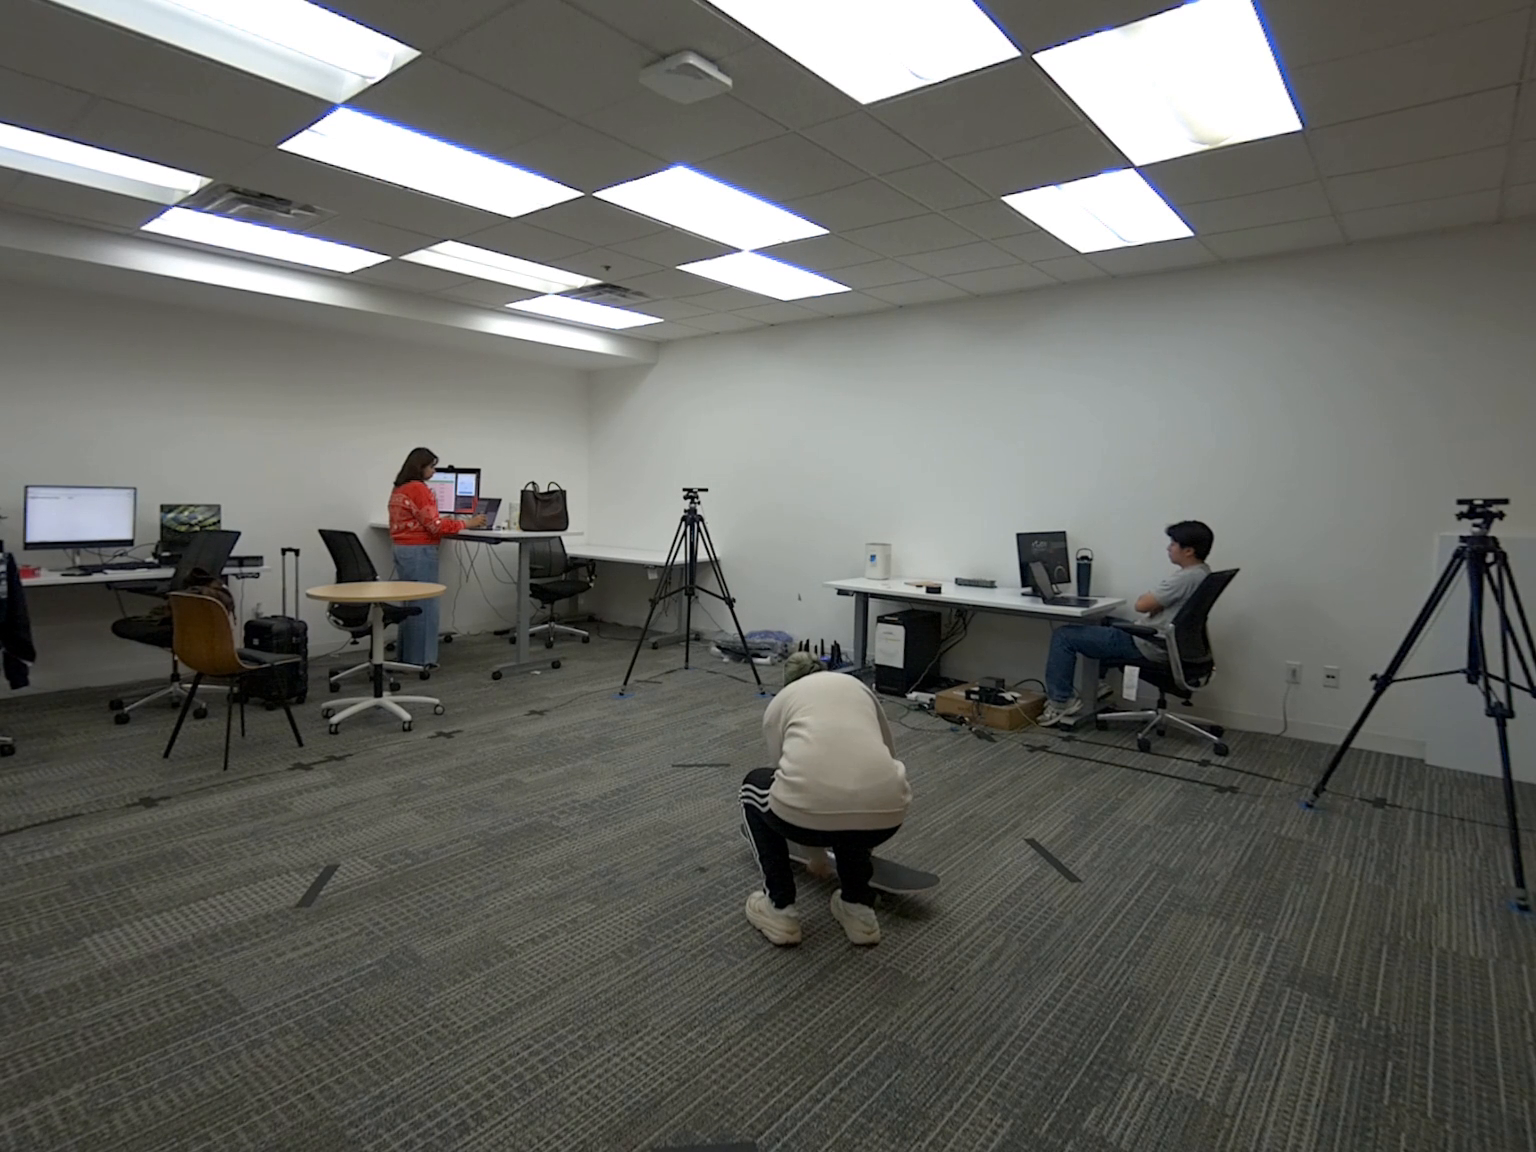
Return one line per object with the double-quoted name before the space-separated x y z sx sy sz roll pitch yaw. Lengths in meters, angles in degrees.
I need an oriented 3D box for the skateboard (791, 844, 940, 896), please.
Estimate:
"skateboard" 0.225 1.022 3.032 0.811 0.110 0.188 5 6 36
